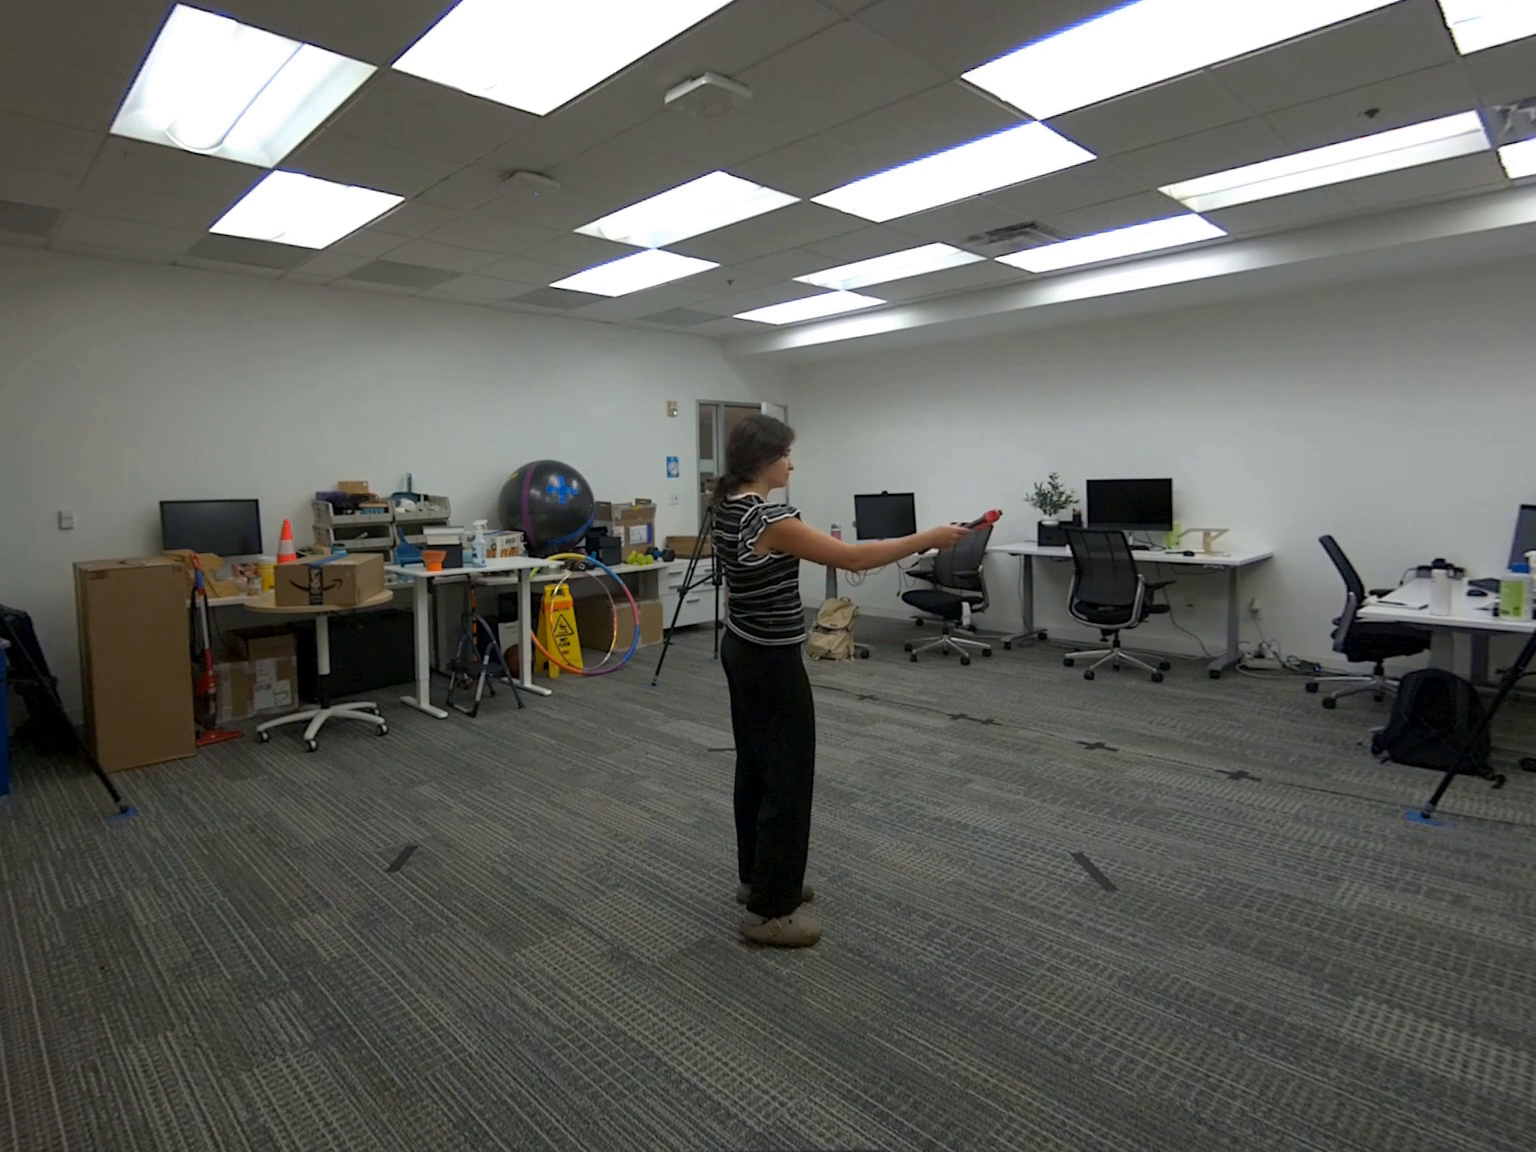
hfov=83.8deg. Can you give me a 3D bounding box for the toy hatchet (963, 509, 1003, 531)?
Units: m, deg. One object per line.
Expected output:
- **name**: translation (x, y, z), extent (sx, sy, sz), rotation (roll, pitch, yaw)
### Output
- **toy hatchet**: translation (0.584, -0.128, 2.582), extent (0.272, 0.030, 0.127), rotation (-29, -15, 19)
